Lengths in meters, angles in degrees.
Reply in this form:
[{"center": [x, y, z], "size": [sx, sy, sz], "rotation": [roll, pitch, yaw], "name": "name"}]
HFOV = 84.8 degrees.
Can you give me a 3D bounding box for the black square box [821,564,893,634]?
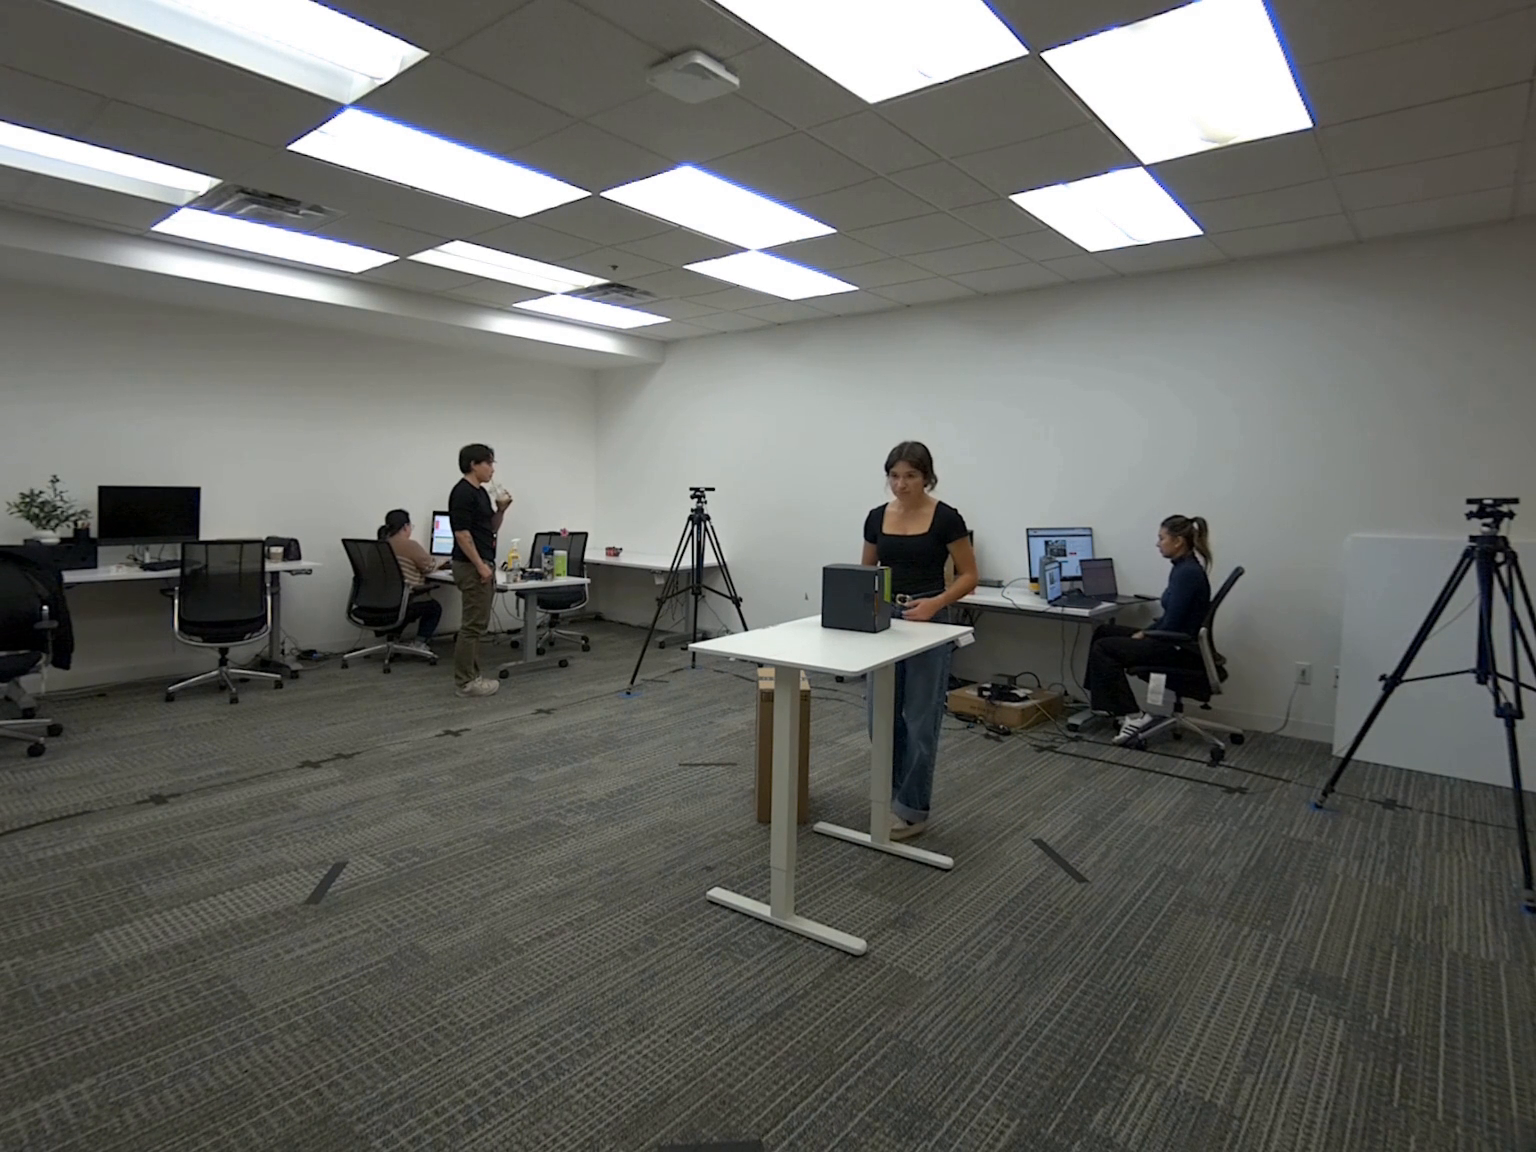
[{"center": [0.321, 0.077, 3.139], "size": [0.223, 0.227, 0.152], "rotation": [4, 5, 30], "name": "black square box"}]
